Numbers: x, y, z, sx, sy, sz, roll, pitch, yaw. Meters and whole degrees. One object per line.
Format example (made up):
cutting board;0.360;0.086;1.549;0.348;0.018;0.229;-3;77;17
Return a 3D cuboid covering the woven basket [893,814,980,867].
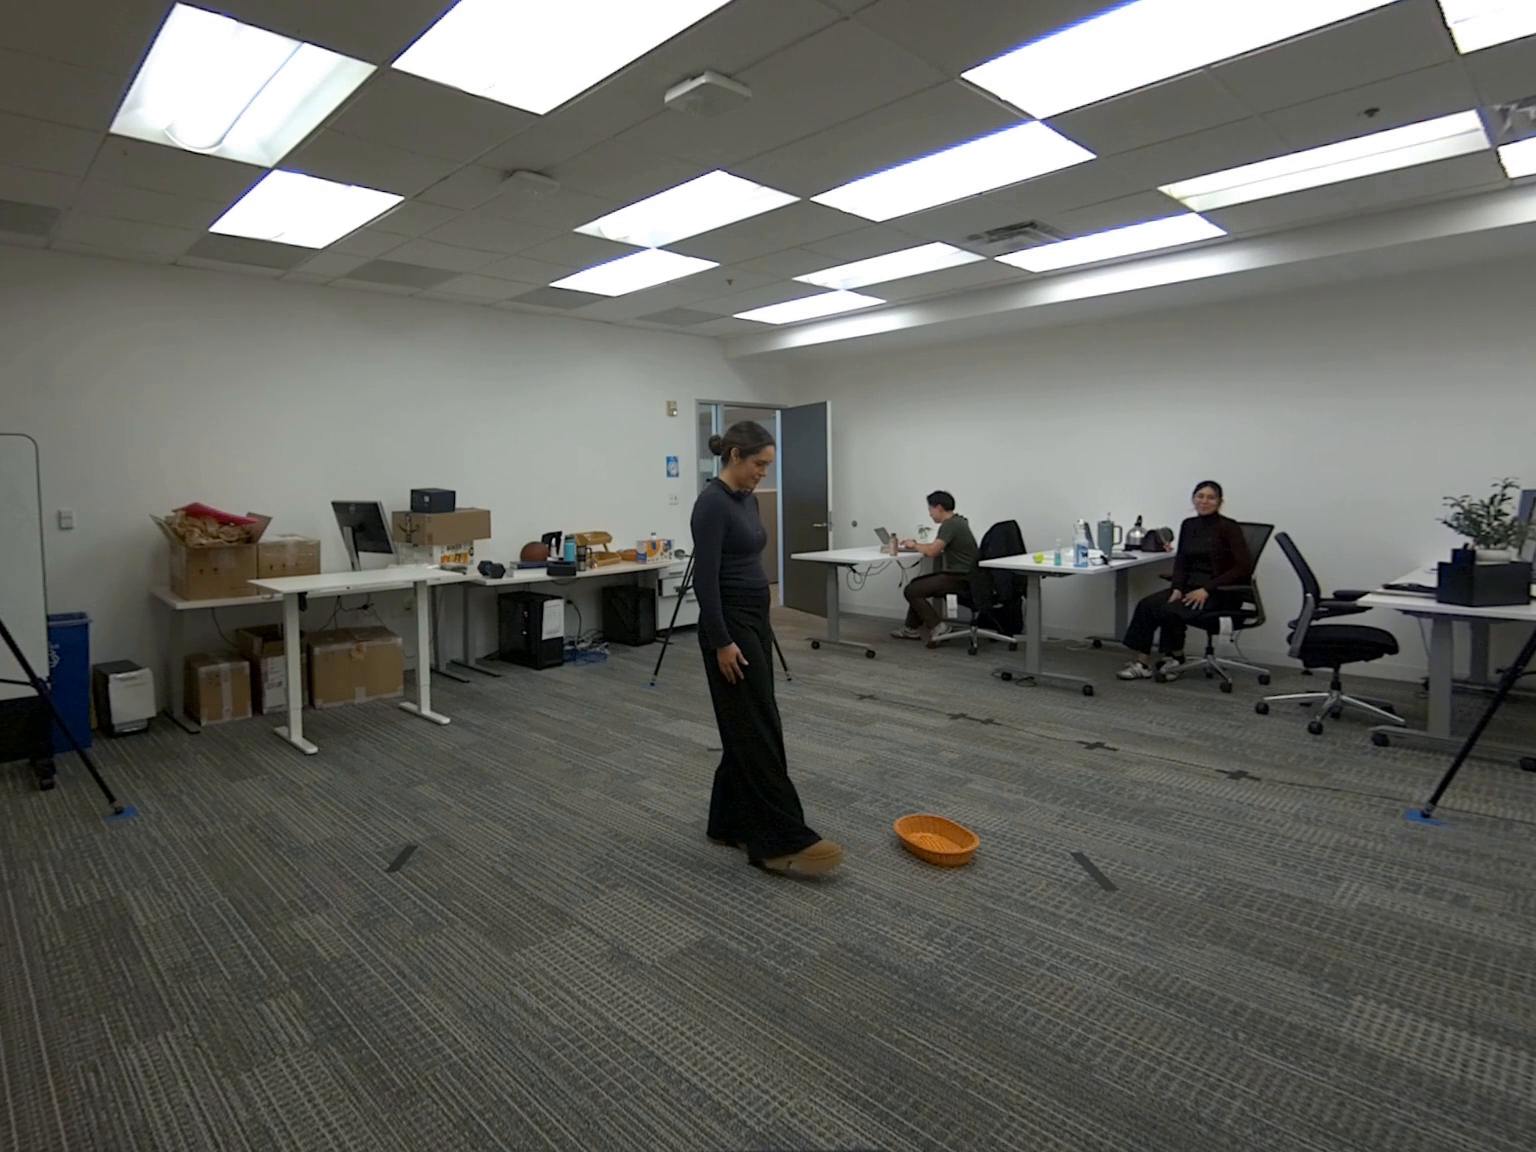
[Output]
woven basket;0.619;0.982;3.172;0.247;0.073;0.359;-5;7;-25
